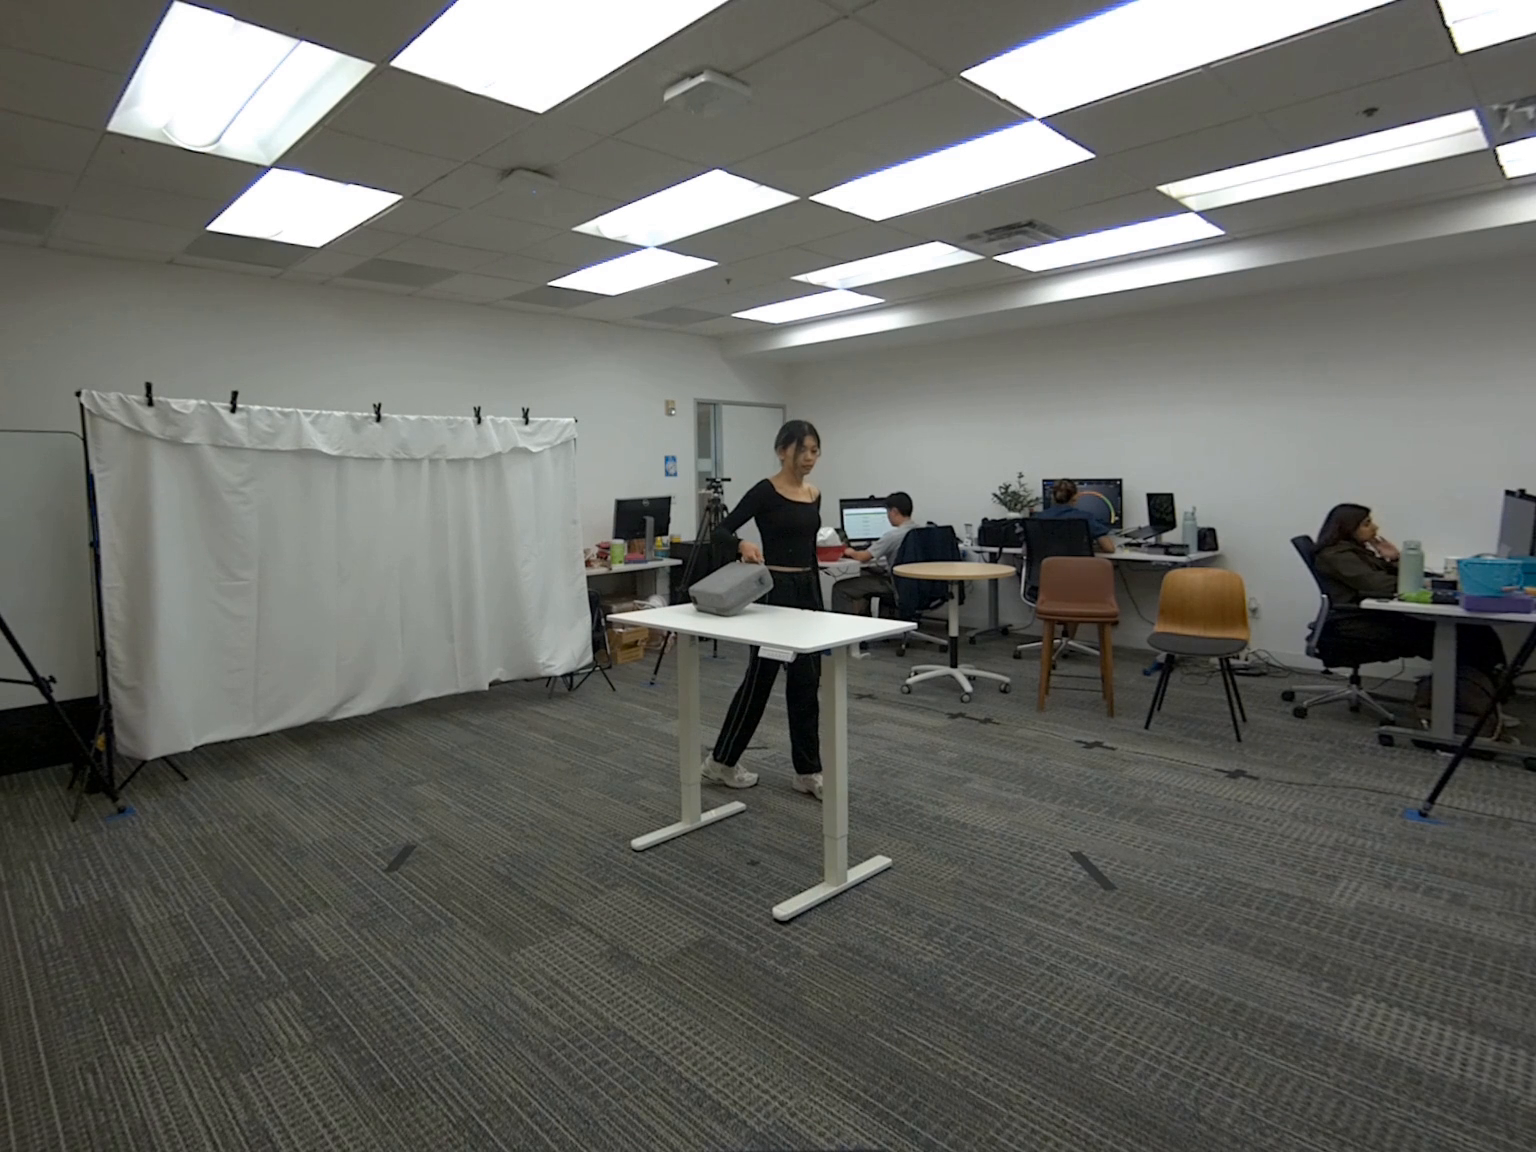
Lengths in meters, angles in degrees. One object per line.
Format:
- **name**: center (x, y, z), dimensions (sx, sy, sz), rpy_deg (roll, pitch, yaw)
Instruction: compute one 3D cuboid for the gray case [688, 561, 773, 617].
- **gray case**: center (-0.140, 0.048, 3.308), dimensions (0.258, 0.102, 0.264), rpy_deg (-32, 20, -29)
